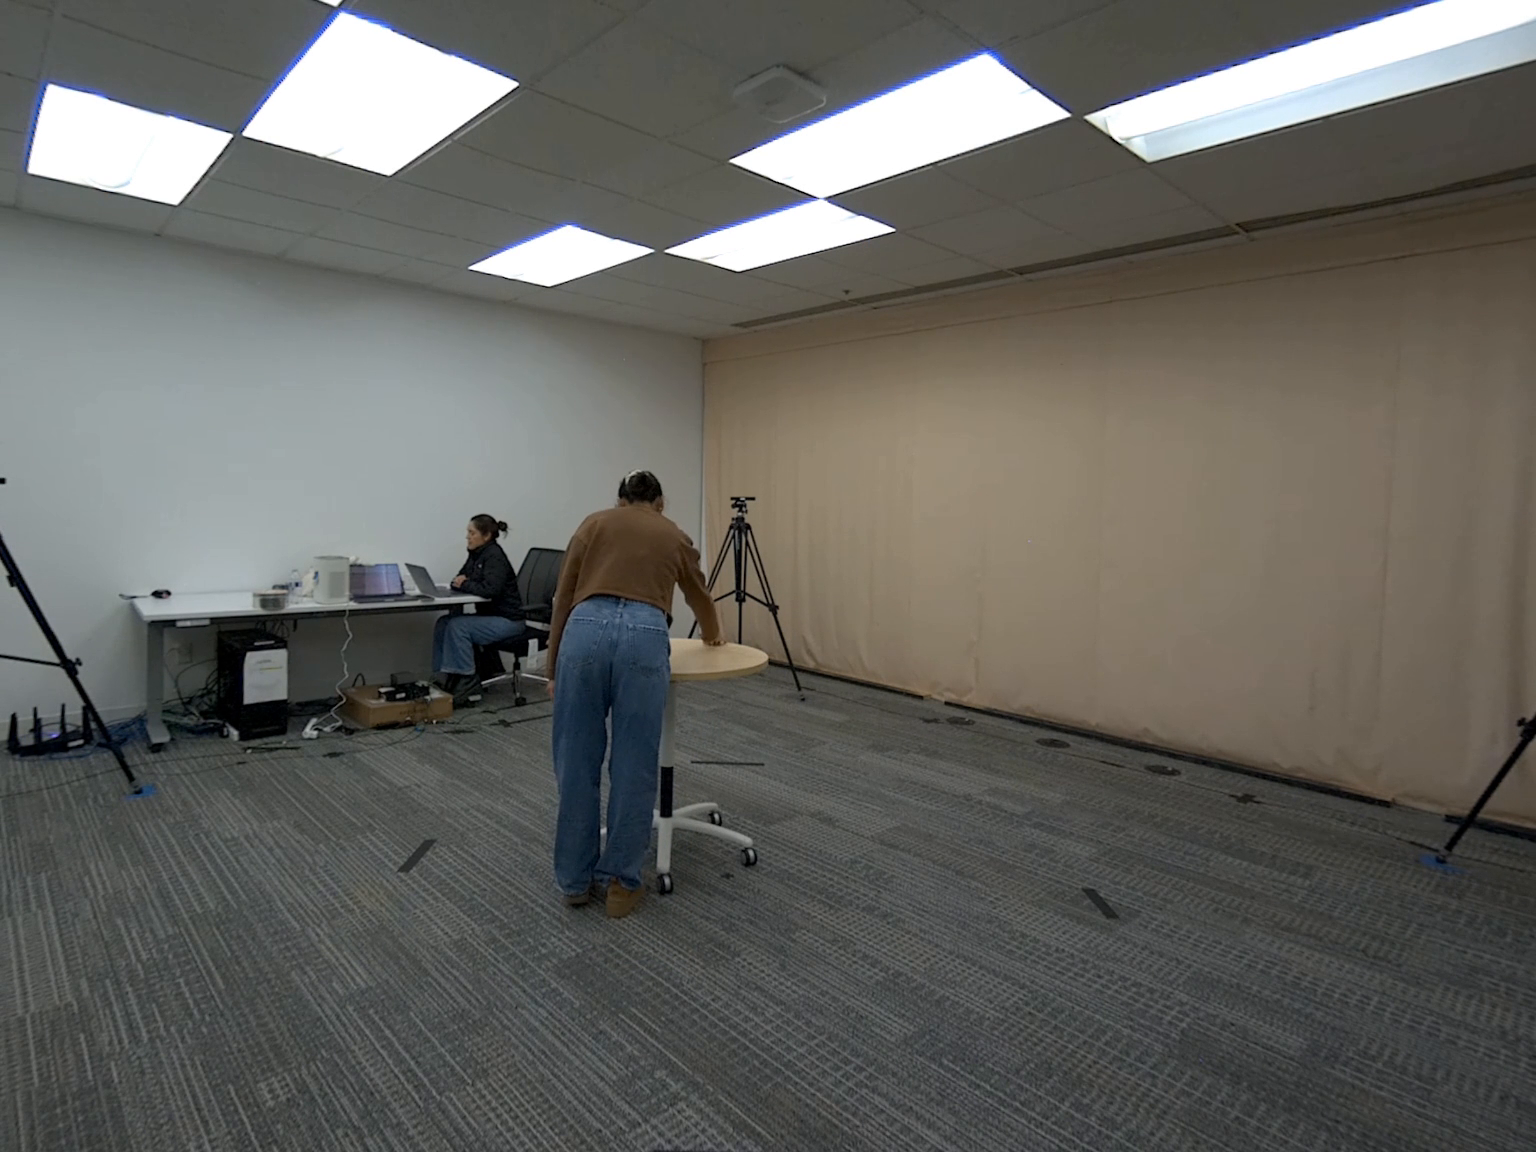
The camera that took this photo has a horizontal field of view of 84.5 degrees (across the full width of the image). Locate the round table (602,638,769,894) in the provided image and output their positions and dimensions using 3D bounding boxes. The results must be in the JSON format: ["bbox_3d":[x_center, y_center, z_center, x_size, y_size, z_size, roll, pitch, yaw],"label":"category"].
[{"bbox_3d":[-0.399,0.697,3.296,0.763,0.792,0.766,1,3,-1],"label":"round table"}]
